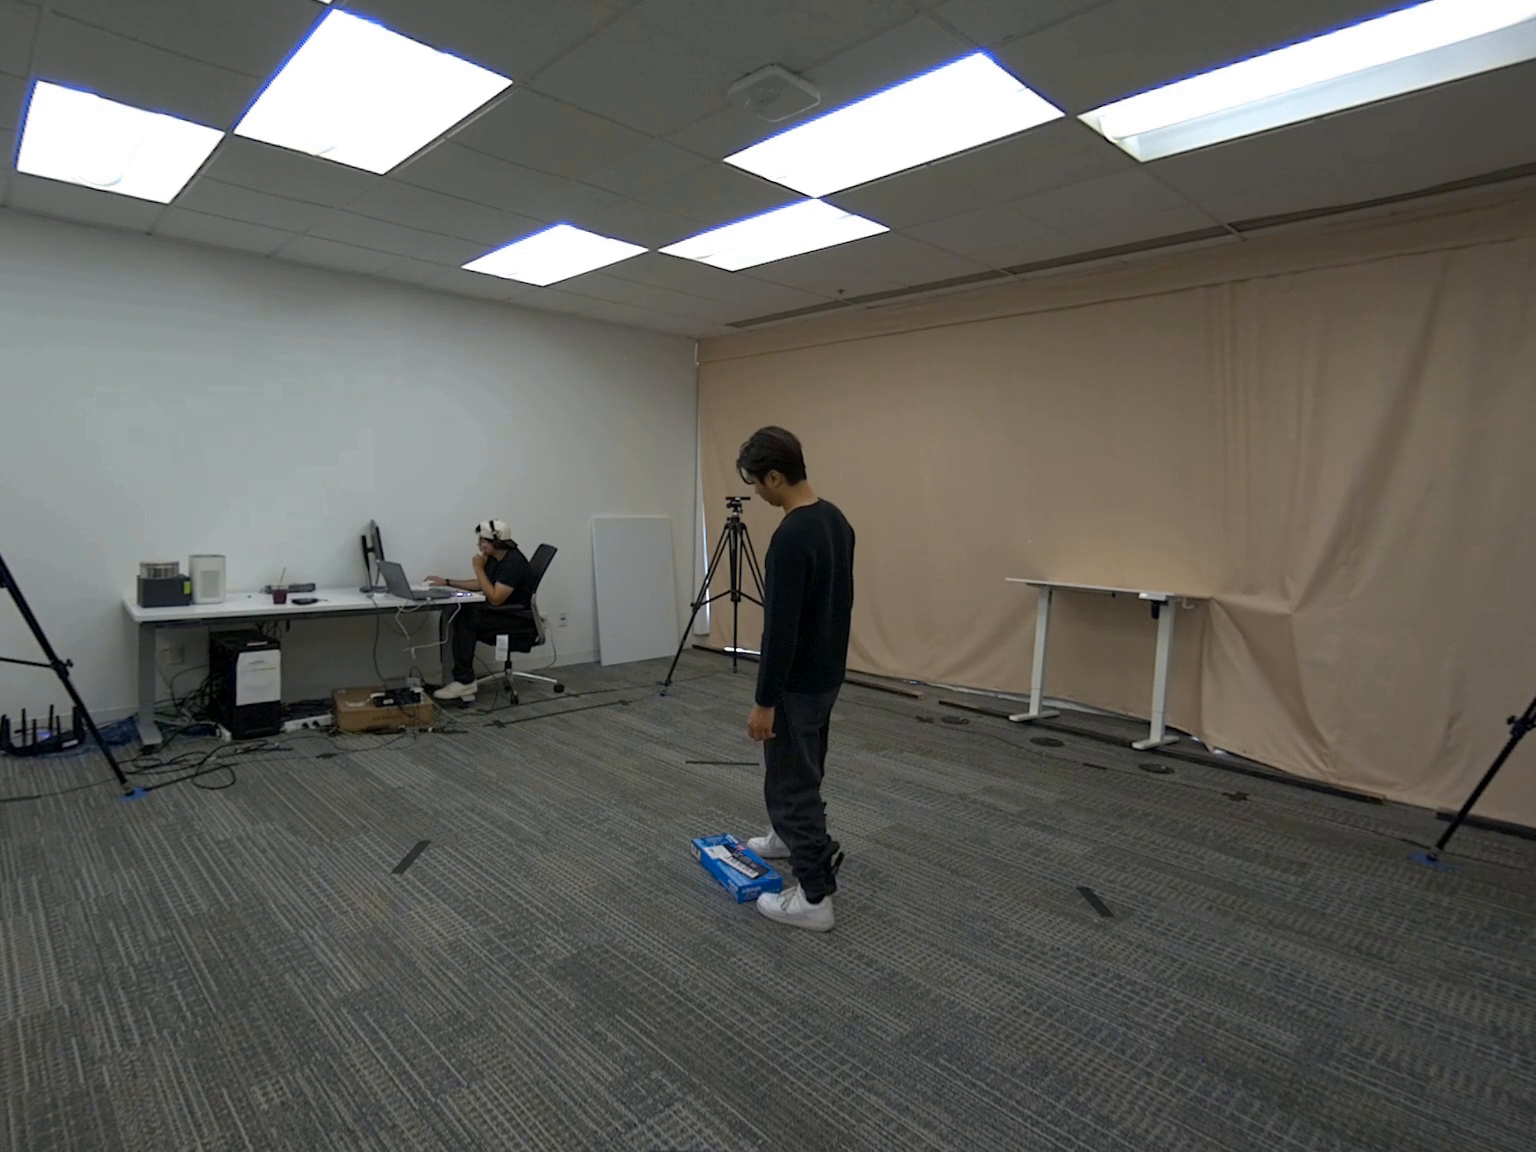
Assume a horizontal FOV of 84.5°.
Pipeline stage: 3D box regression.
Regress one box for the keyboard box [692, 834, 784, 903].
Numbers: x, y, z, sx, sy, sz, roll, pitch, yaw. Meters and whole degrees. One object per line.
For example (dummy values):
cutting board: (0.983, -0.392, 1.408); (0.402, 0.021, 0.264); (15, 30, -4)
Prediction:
keyboard box: (-0.133, 1.076, 3.120); (0.173, 0.059, 0.446); (-1, 5, -27)
